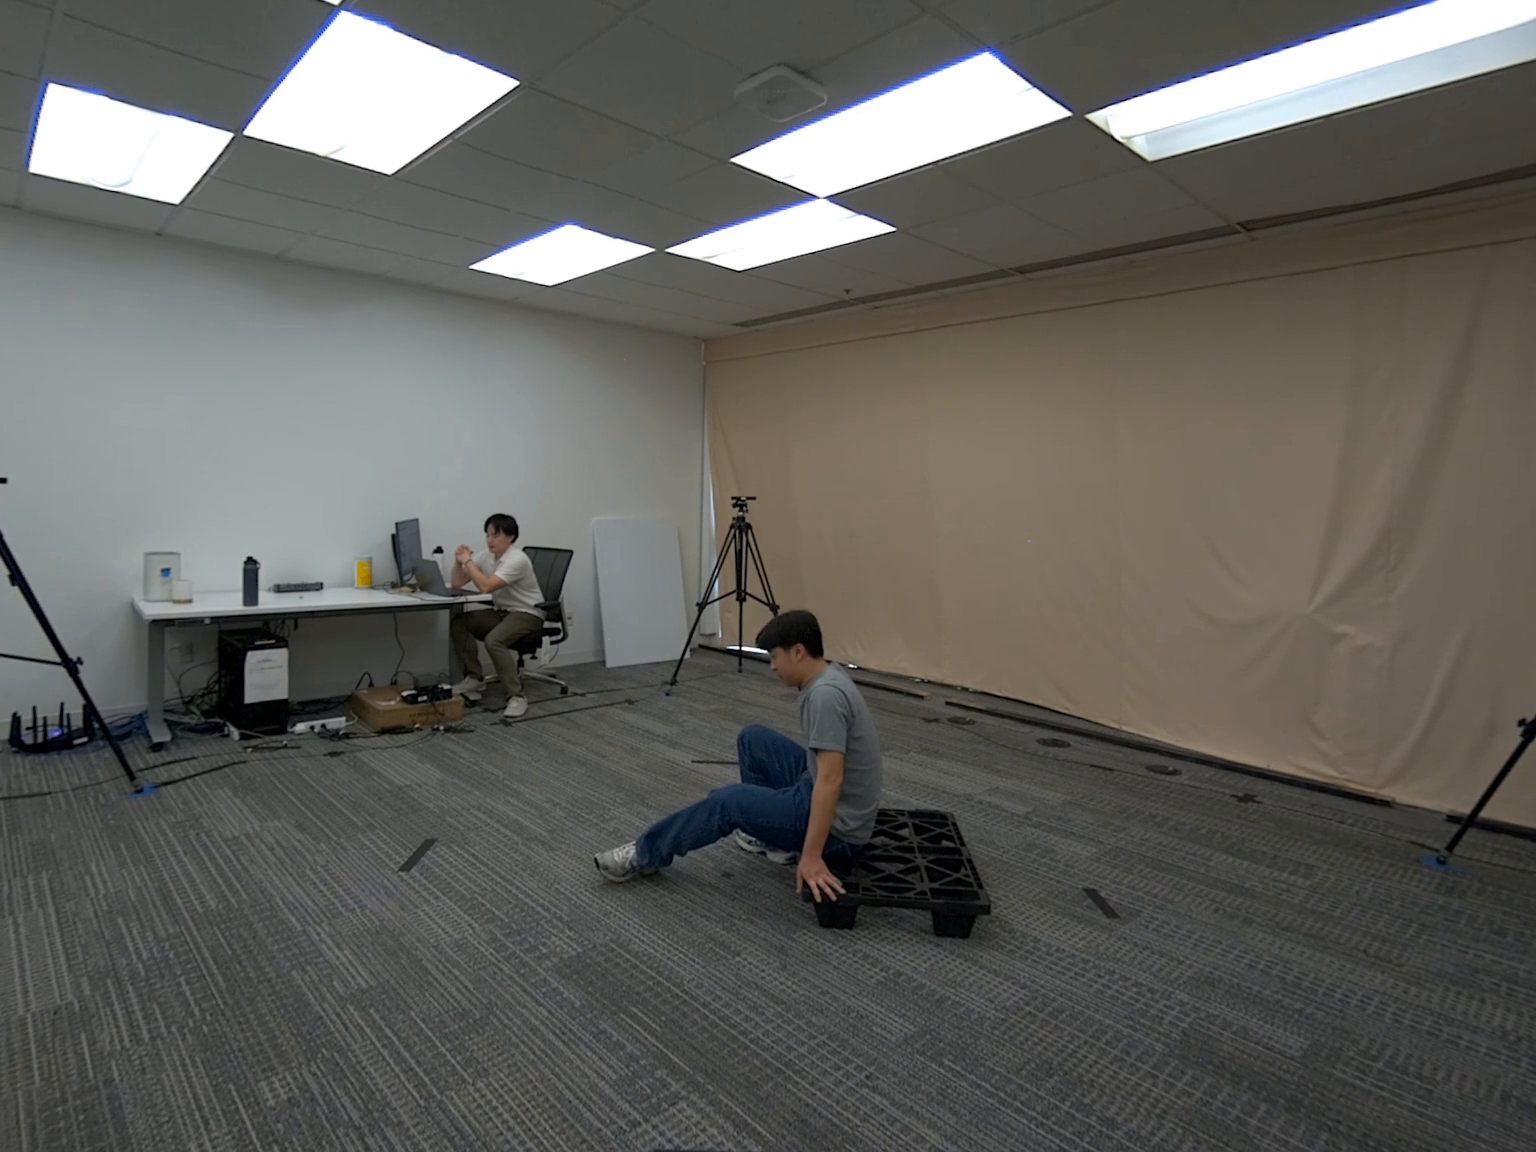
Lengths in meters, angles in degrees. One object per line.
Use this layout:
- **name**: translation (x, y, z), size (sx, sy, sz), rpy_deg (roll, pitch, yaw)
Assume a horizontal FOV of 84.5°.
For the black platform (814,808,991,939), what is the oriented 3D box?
- **black platform**: translation (0.420, 1.048, 3.068), size (0.608, 0.143, 0.804), rpy_deg (1, 5, 4)
